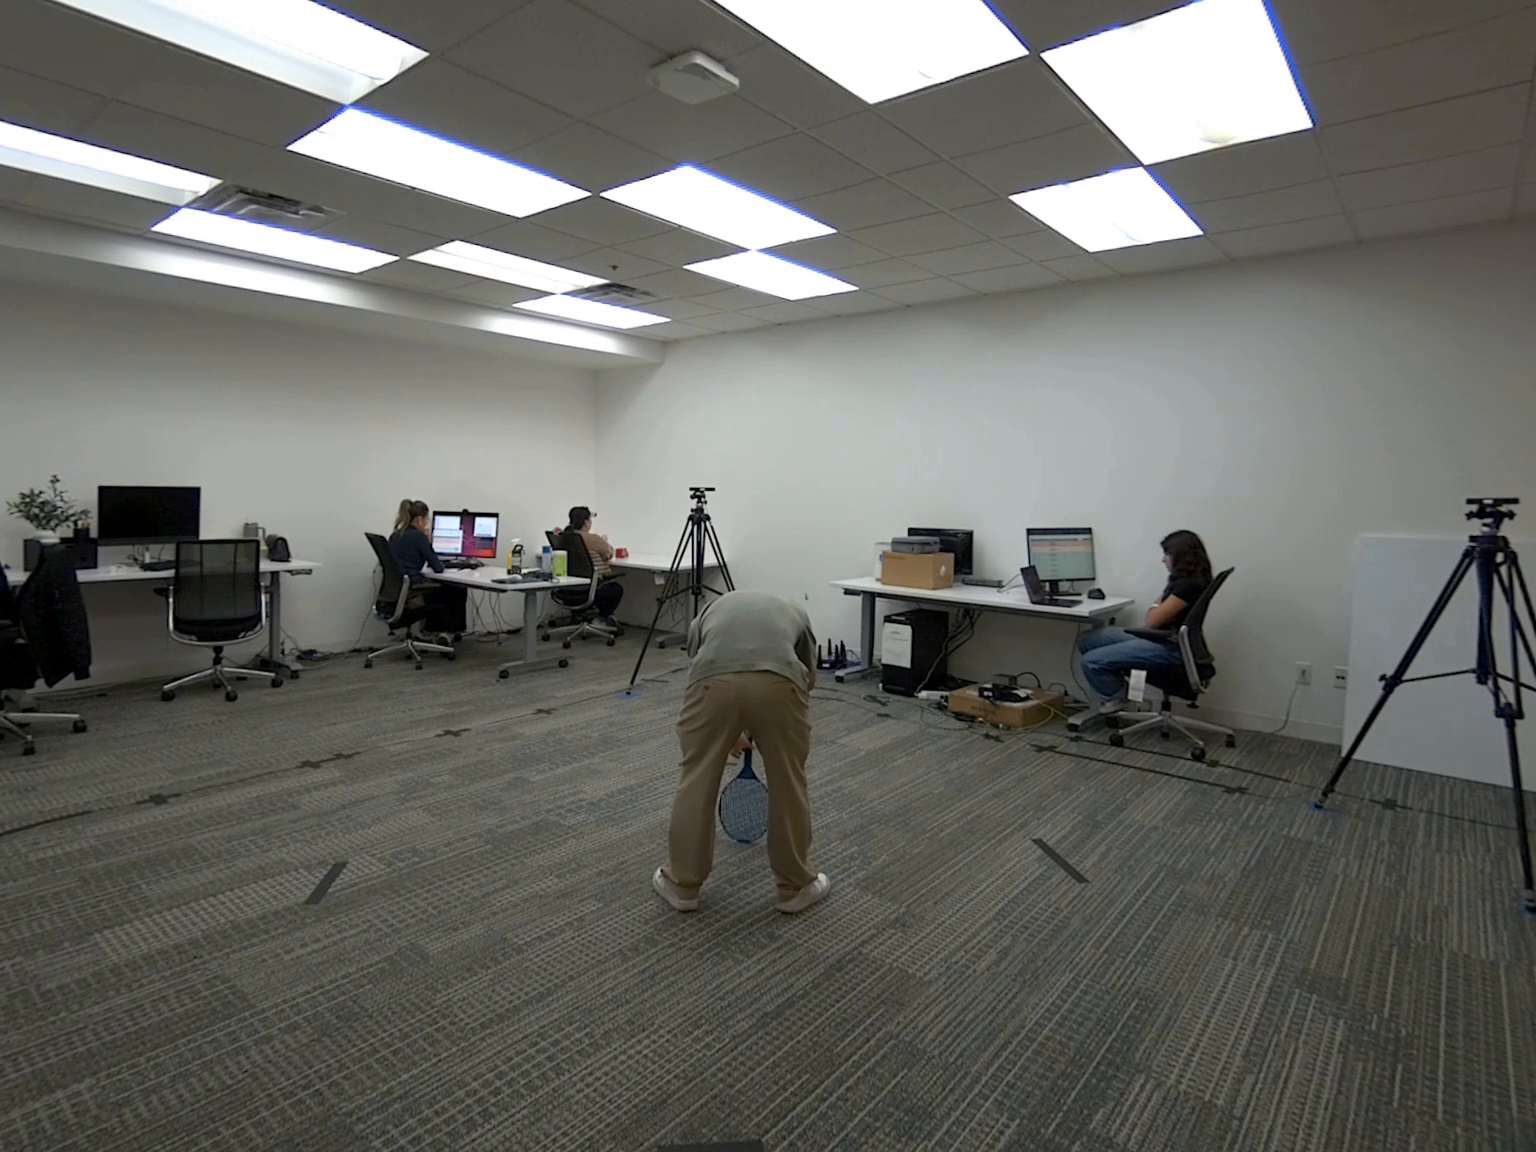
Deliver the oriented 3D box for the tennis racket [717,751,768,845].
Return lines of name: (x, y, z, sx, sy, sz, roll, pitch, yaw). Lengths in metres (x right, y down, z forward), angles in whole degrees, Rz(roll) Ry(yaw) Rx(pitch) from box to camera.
tennis racket: (-0.093, 0.829, 3.331, 0.215, 0.431, 0.032, 2, 5, 6)
